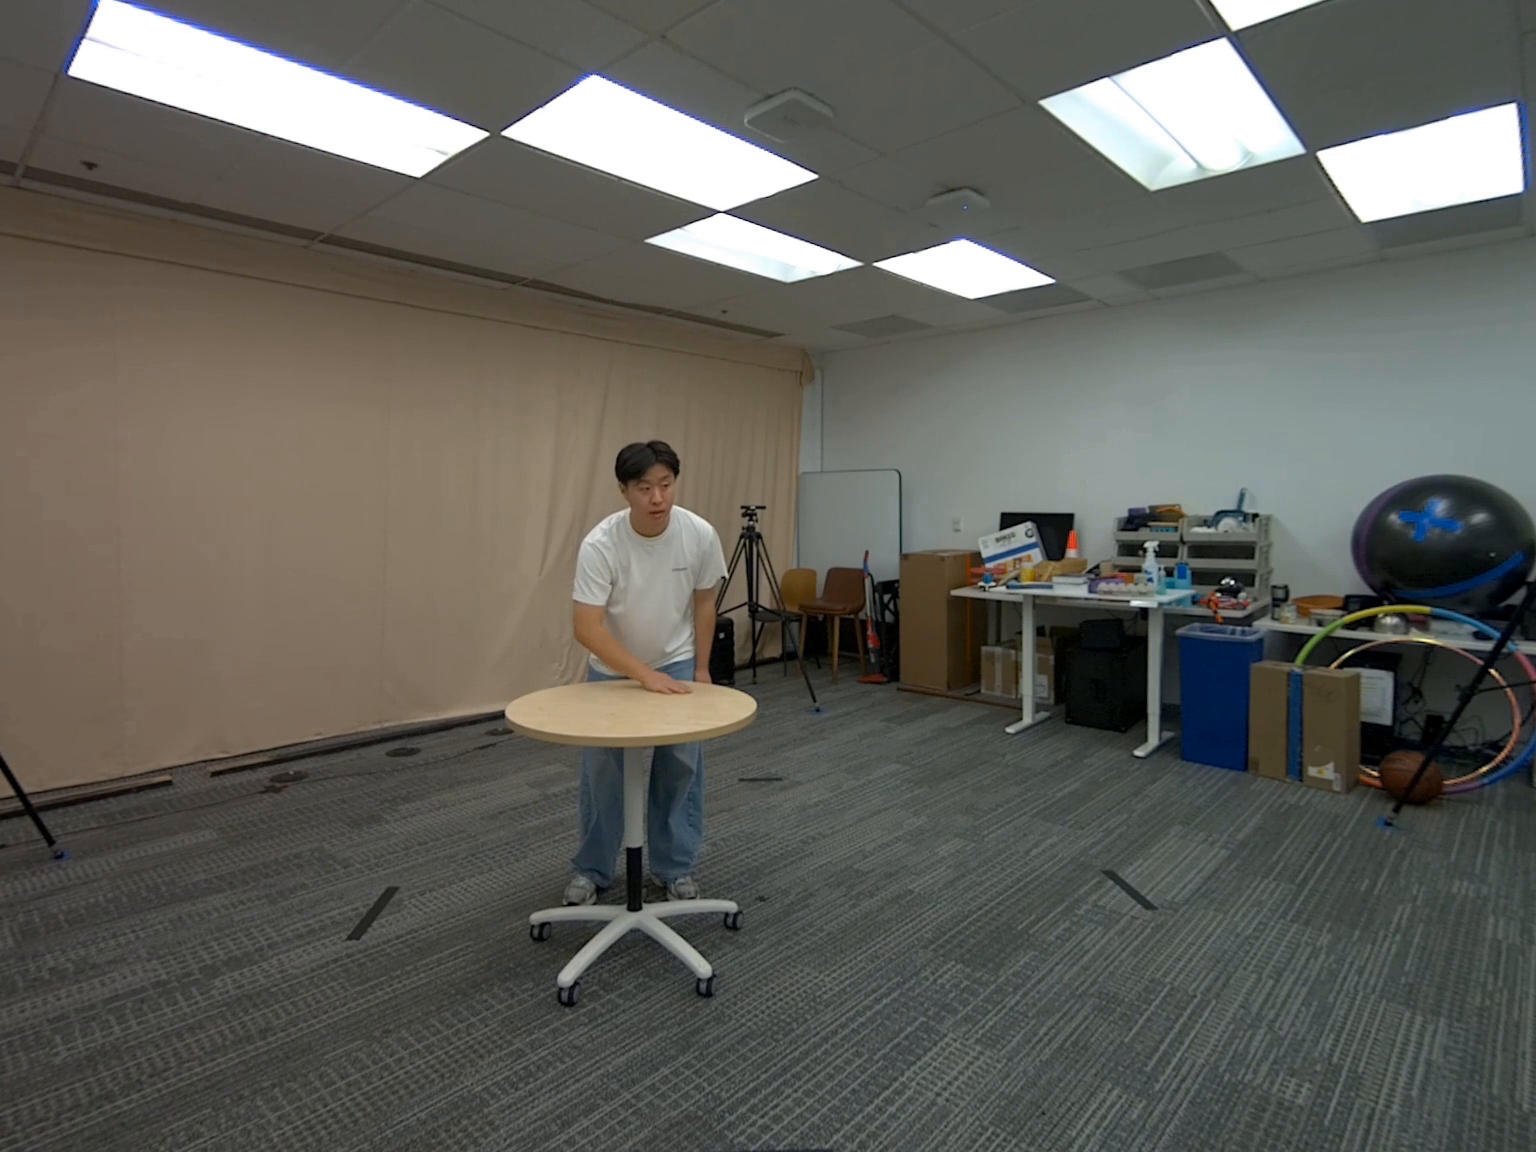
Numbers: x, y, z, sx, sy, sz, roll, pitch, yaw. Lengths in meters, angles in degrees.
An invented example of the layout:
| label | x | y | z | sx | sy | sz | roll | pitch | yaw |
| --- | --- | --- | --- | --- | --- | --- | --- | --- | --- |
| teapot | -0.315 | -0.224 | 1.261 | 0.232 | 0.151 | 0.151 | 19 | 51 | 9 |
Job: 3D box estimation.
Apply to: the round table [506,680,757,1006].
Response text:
| label | x | y | z | sx | sy | sz | roll | pitch | yaw |
| --- | --- | --- | --- | --- | --- | --- | --- | --- | --- |
| round table | -0.404 | 0.786 | 2.610 | 0.763 | 0.792 | 0.766 | 0 | 4 | -2 |
